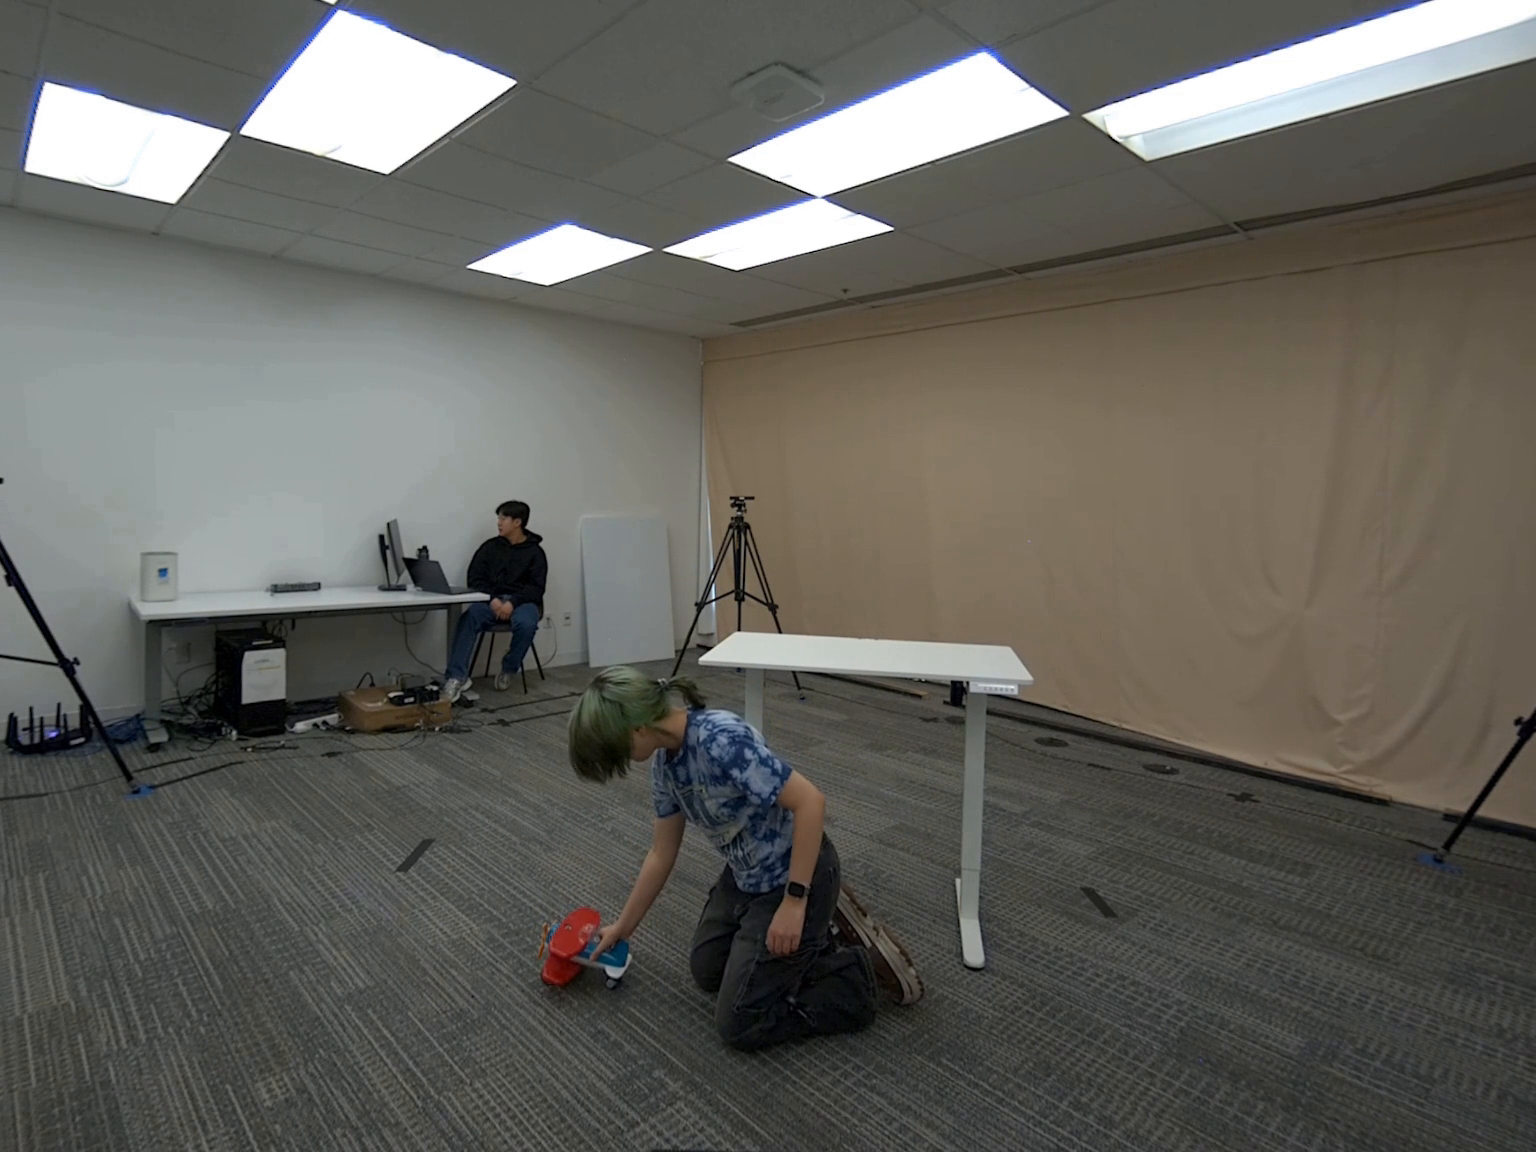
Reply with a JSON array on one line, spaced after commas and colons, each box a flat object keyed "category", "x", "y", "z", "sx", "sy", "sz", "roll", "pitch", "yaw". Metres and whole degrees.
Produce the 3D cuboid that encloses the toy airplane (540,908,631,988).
[{"category": "toy airplane", "x": -0.526, "y": 1.078, "z": 2.432, "sx": 0.256, "sy": 0.156, "sz": 0.255, "roll": 0, "pitch": 4, "yaw": -16}]
